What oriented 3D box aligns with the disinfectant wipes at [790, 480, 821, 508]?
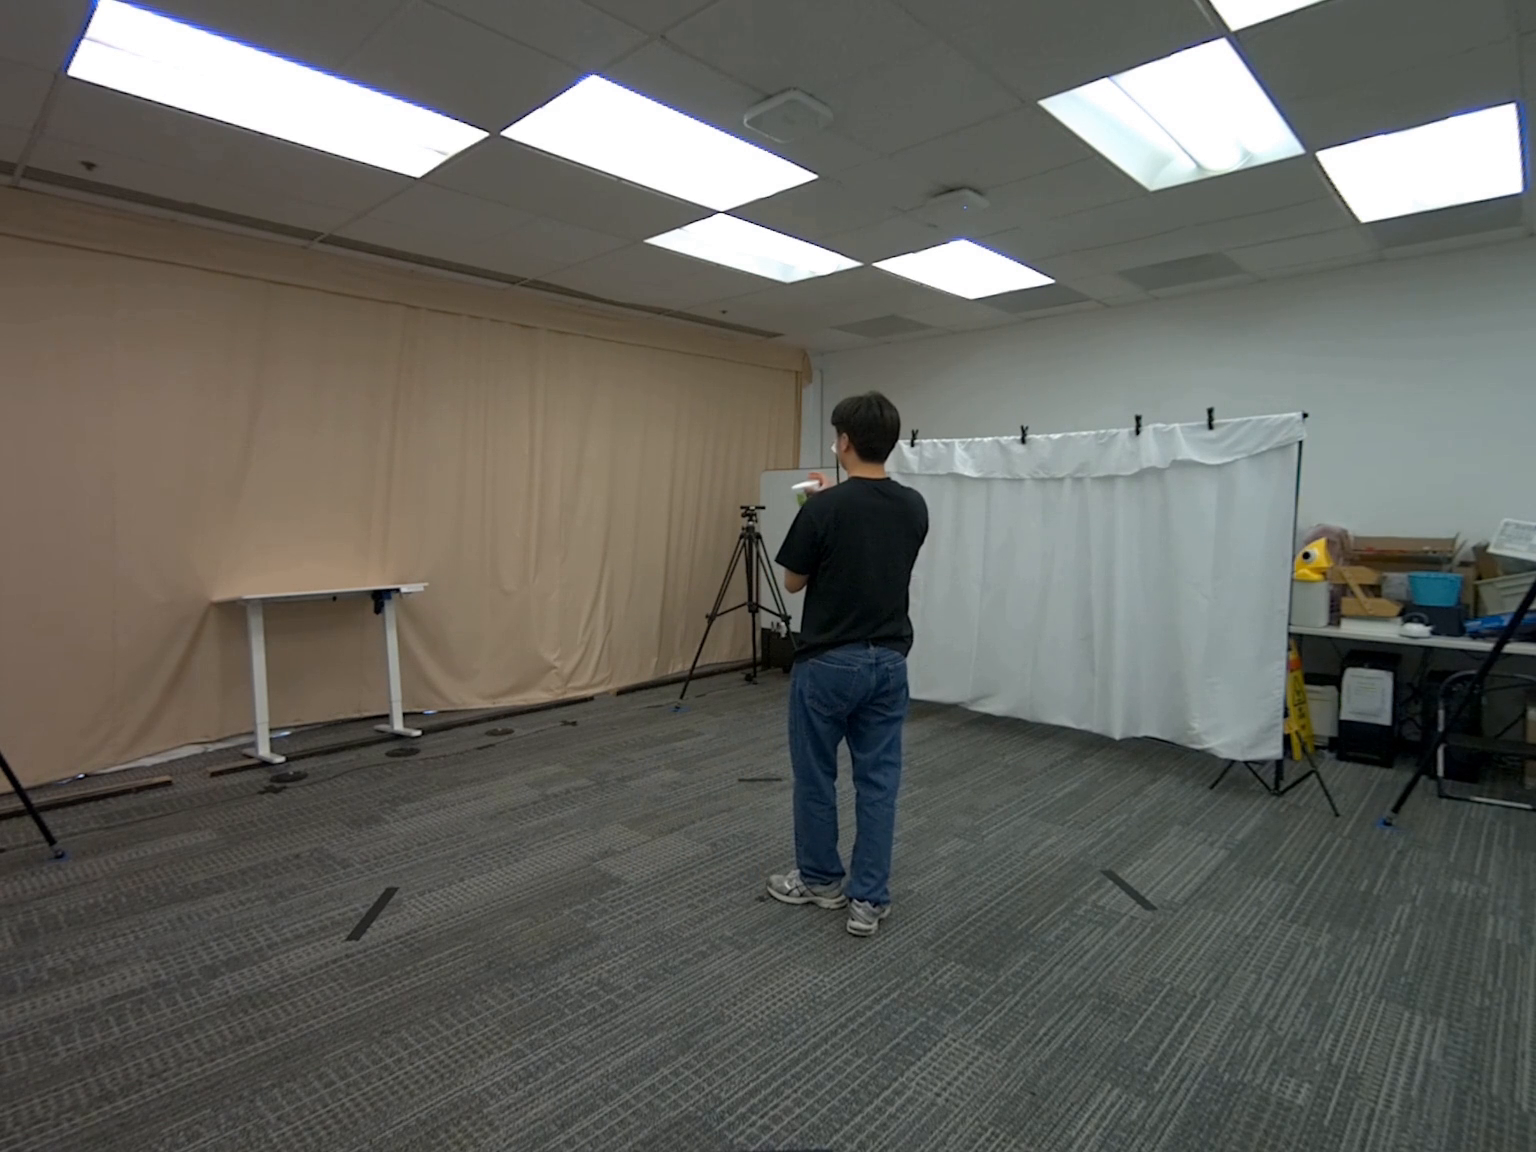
[{"bbox_3d":[0.151,-0.243,3.117,0.118,0.215,0.119,-13,10,1],"label":"disinfectant wipes"}]
